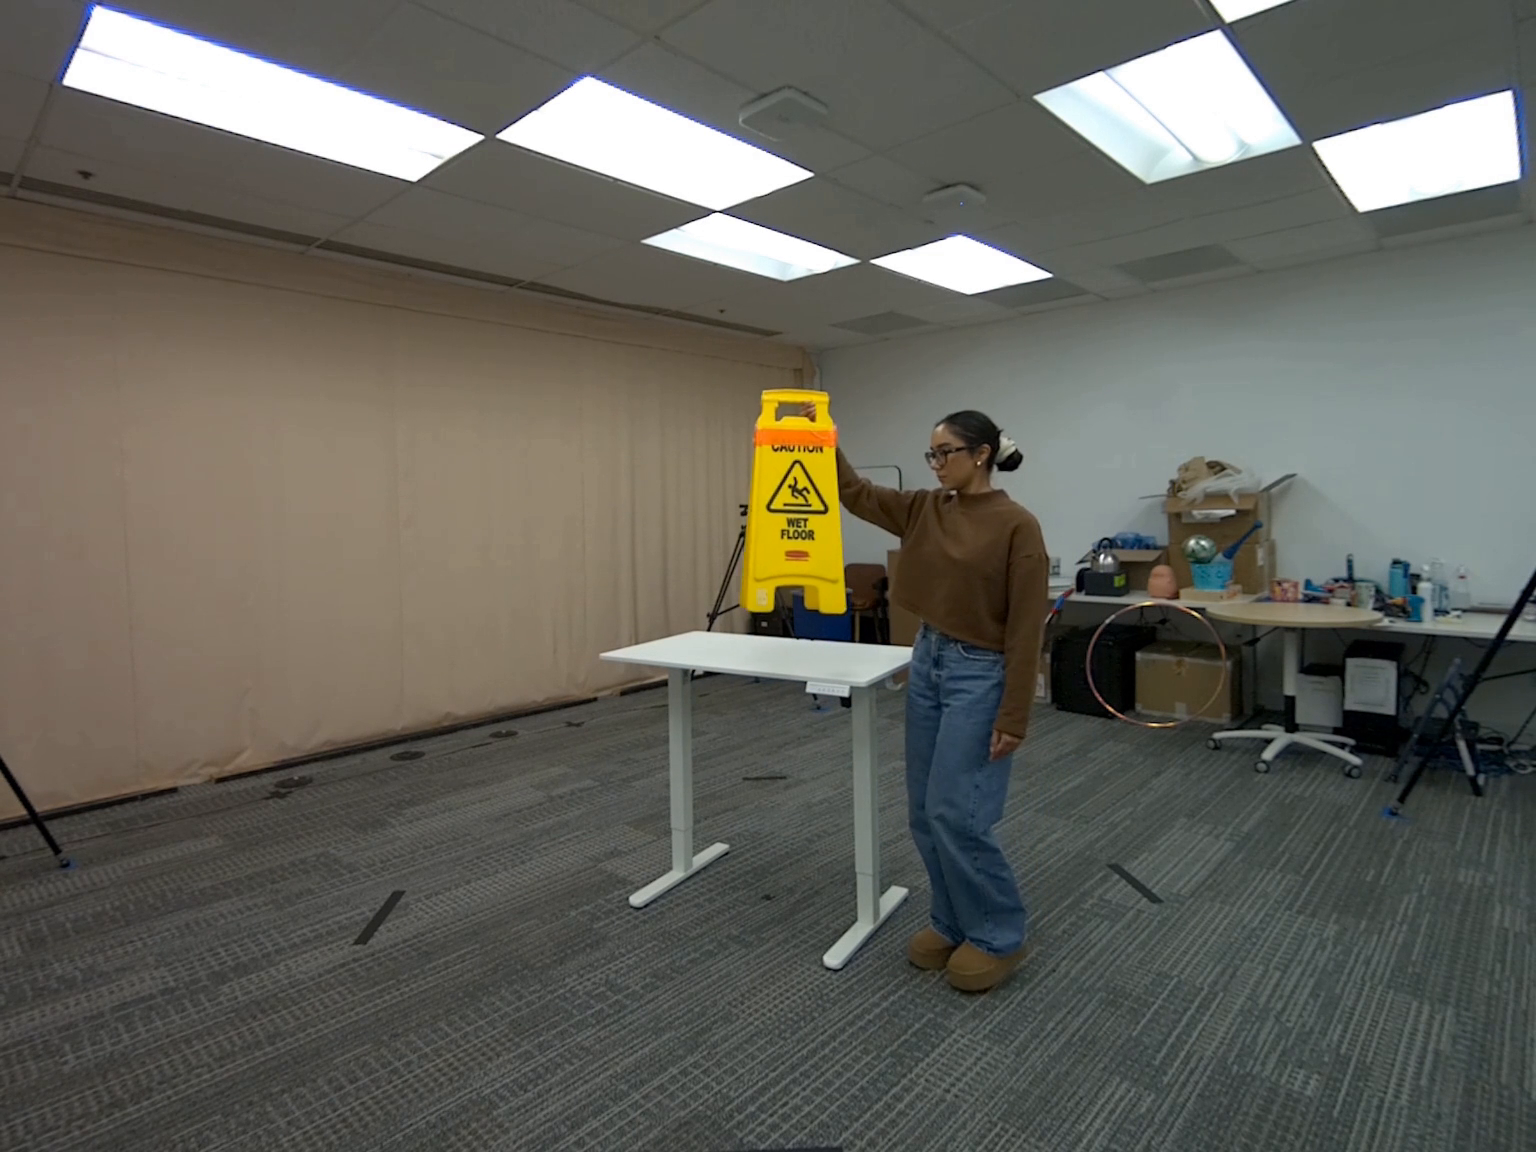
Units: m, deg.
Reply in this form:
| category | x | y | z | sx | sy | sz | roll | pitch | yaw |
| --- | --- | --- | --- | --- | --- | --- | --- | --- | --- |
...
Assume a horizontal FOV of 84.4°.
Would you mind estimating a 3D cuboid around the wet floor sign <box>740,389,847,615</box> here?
| category | x | y | z | sx | sy | sz | roll | pitch | yaw |
| --- | --- | --- | --- | --- | --- | --- | --- | --- | --- |
| wet floor sign | 0.079 | -0.223 | 2.478 | 0.282 | 0.647 | 0.290 | 3 | -2 | -2 |
